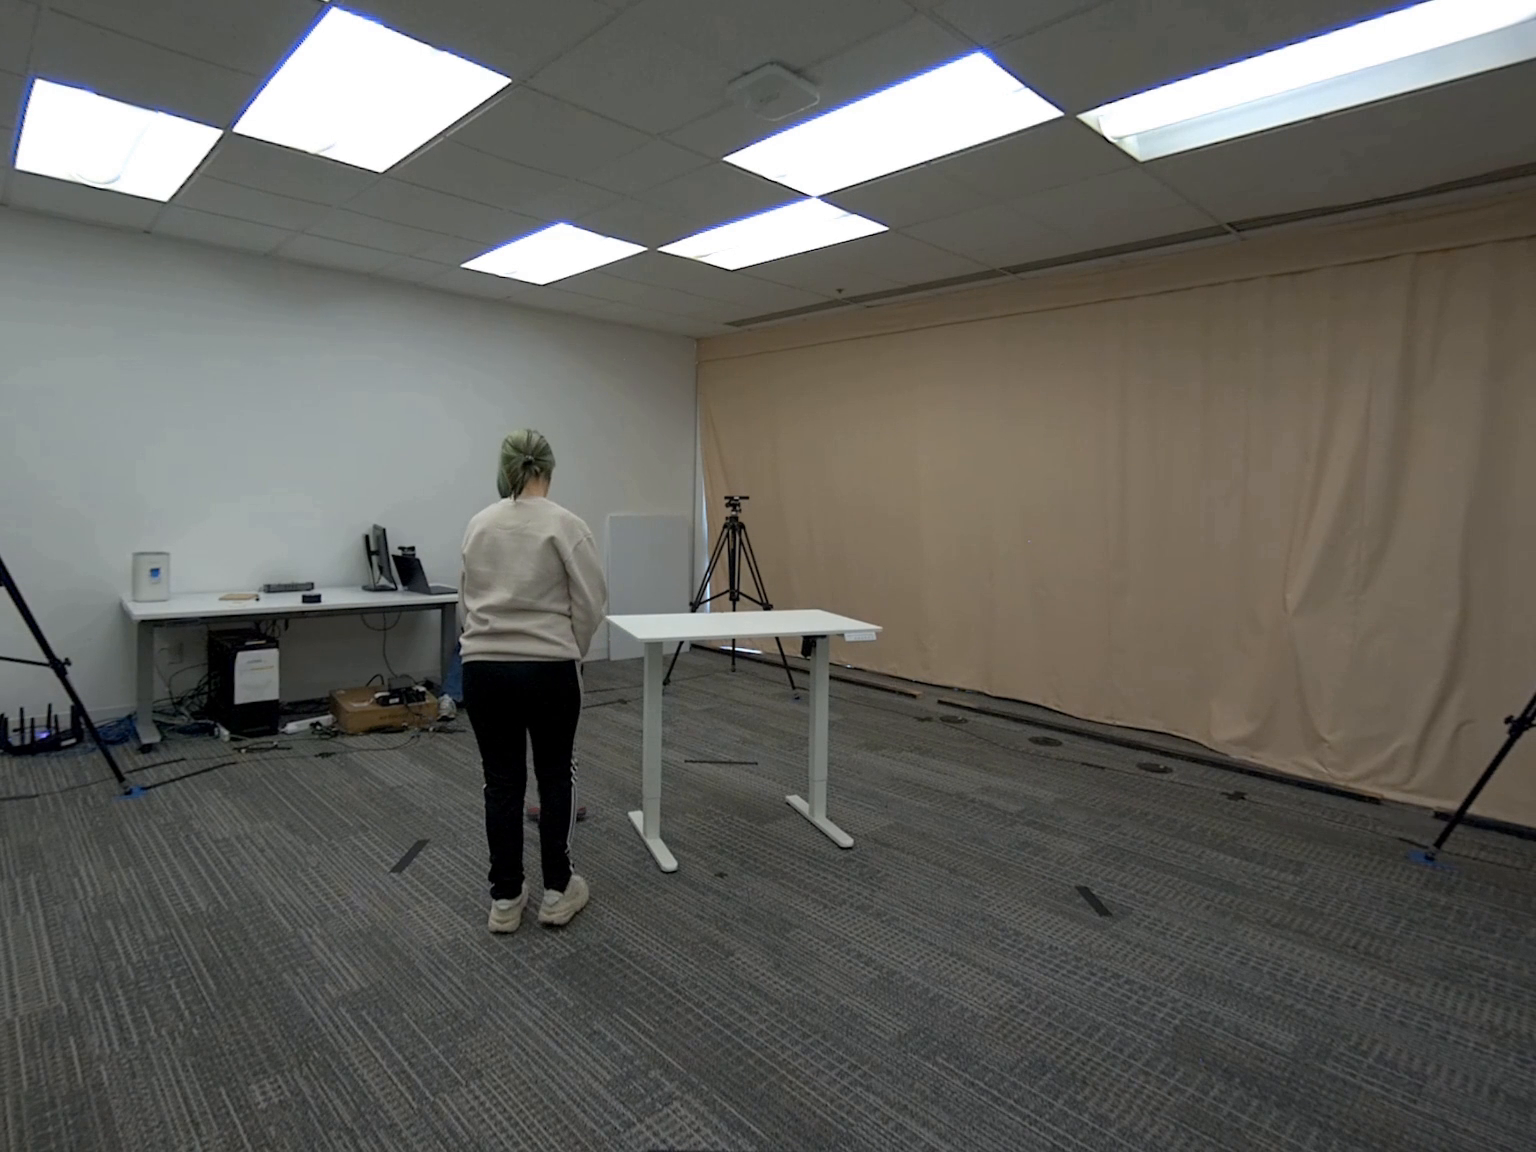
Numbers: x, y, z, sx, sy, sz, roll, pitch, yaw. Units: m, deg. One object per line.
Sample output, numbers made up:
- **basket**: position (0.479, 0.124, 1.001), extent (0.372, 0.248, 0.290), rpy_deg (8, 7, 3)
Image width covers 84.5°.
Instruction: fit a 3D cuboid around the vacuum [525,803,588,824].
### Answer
- **vacuum**: position (-0.840, 0.695, 3.195), extent (0.250, 0.148, 1.031), rpy_deg (-2, -41, -12)
